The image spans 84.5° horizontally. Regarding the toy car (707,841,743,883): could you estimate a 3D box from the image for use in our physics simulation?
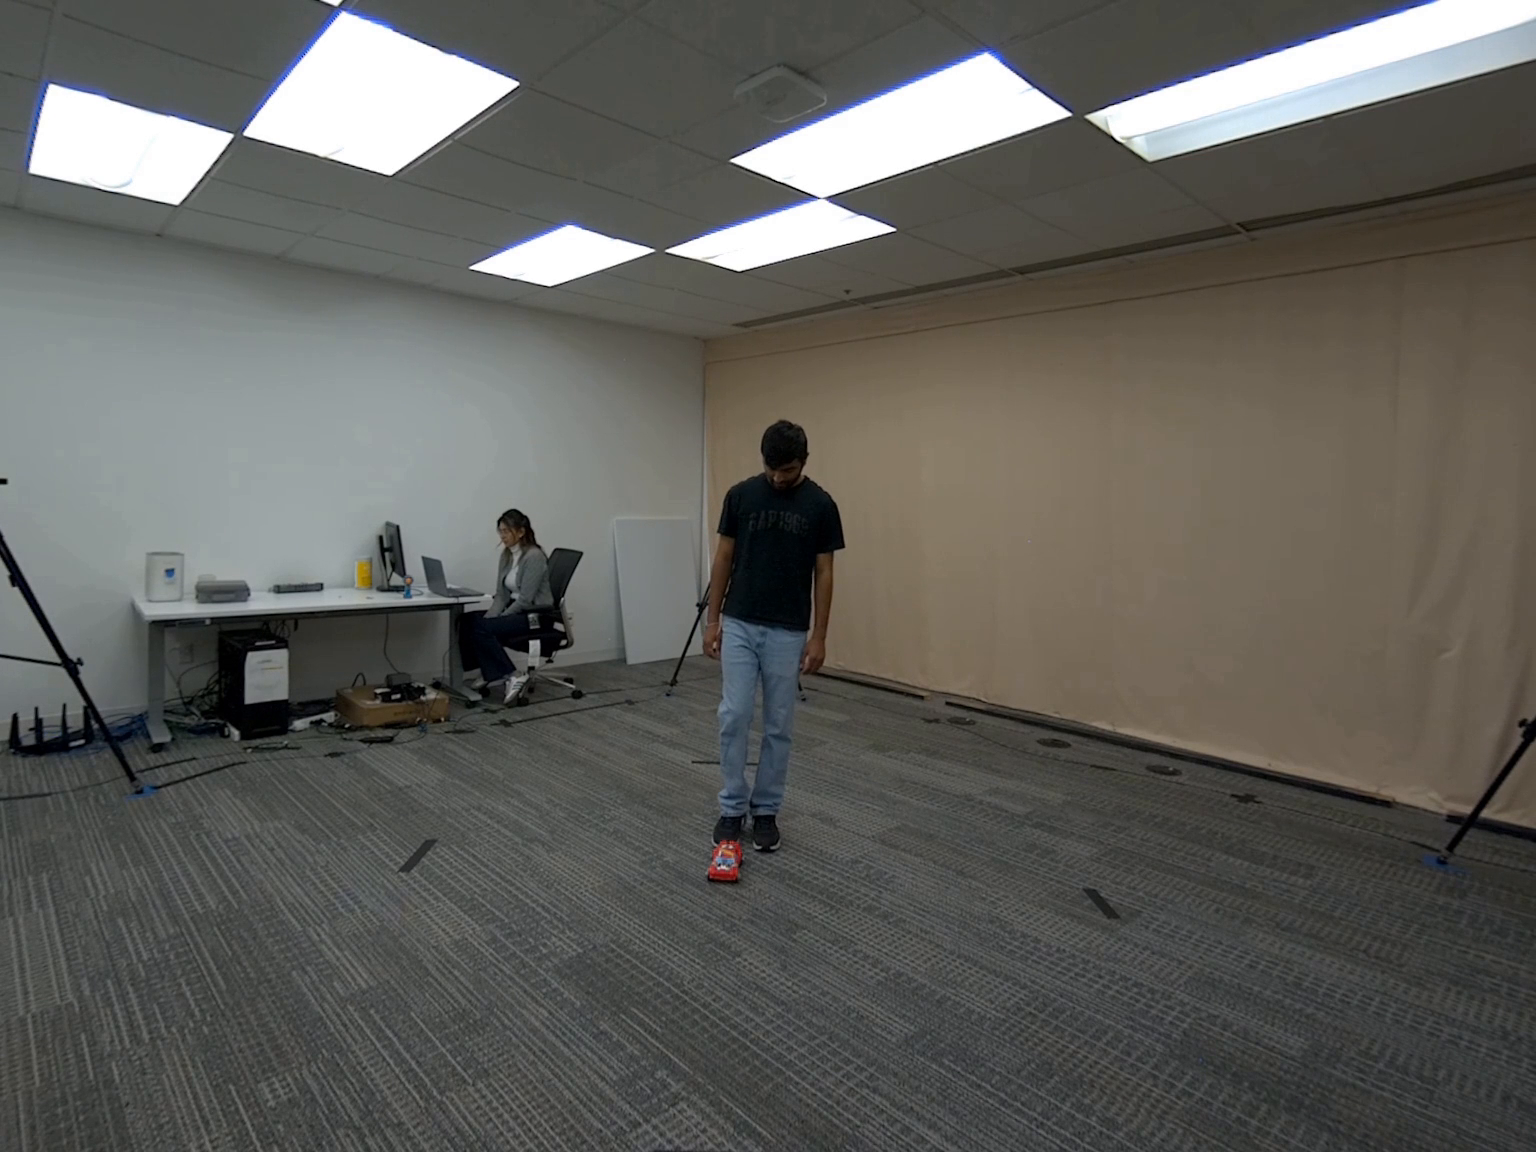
[{"bbox_3d":[-0.170,1.074,3.143,0.131,0.082,0.257,1,17,3],"label":"toy car"}]
